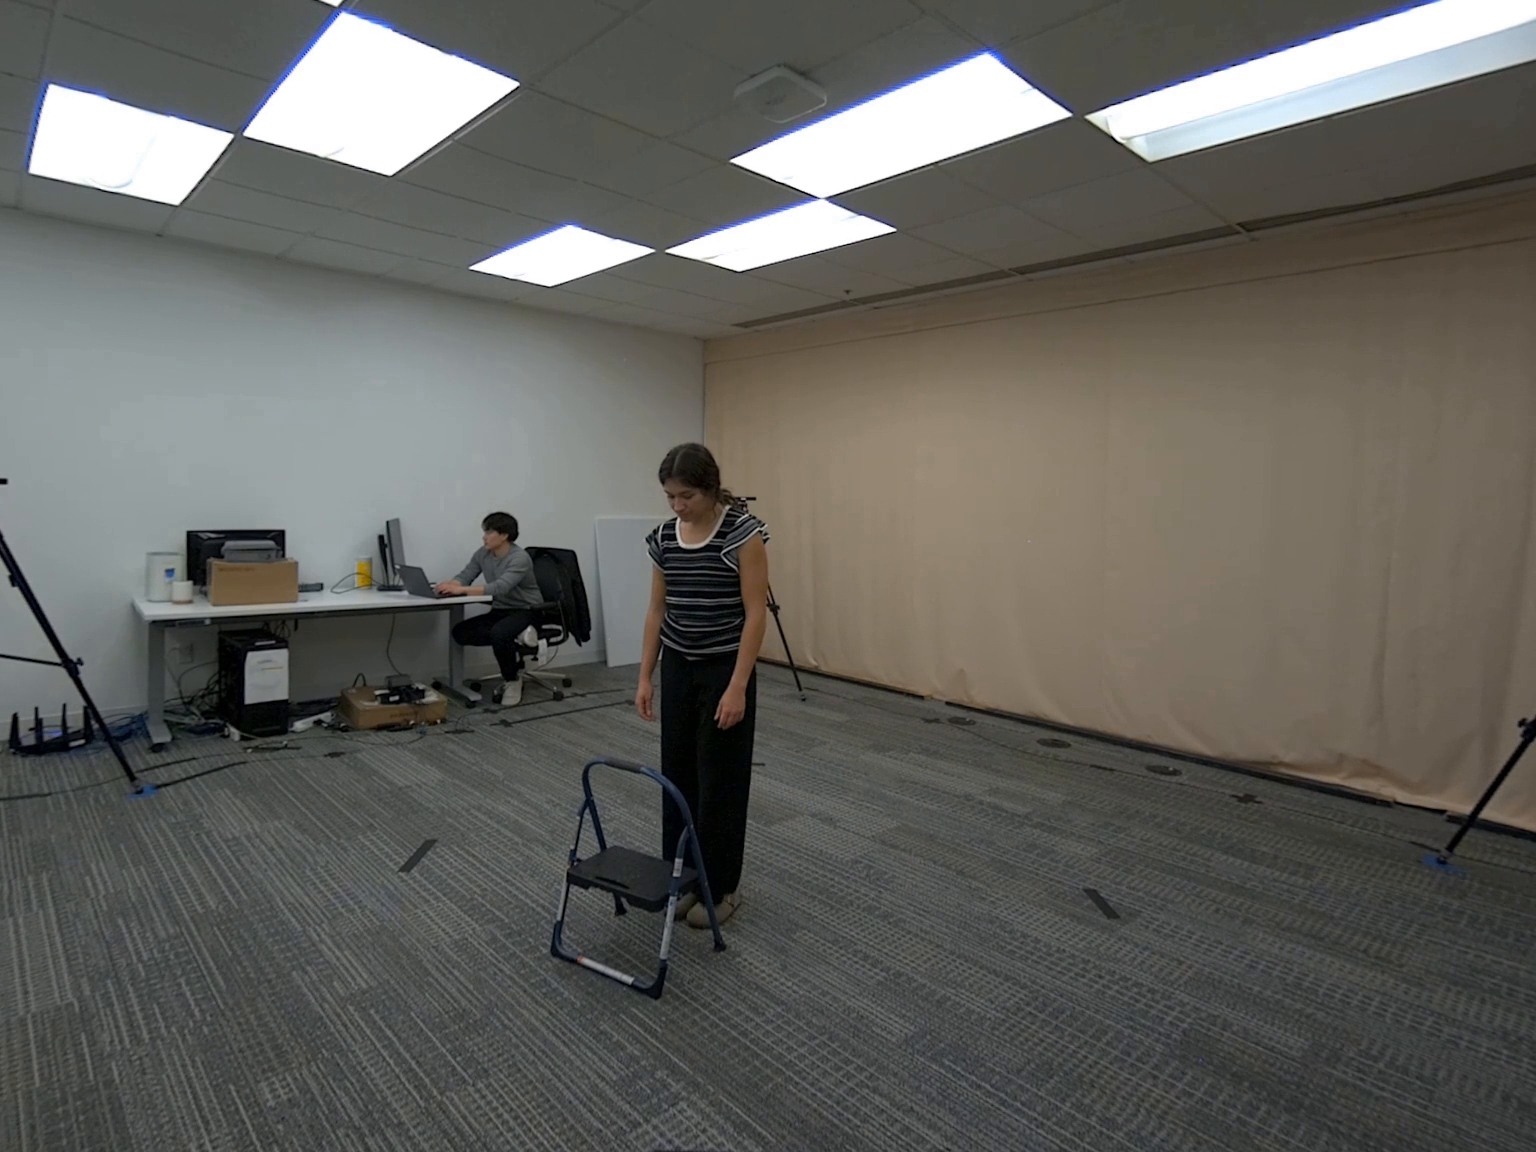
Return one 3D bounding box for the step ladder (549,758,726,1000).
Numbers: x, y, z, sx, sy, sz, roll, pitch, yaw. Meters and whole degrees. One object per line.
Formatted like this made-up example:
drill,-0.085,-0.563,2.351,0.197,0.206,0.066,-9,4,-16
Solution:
step ladder,-0.401,0.850,2.557,0.440,0.604,0.342,4,4,31
